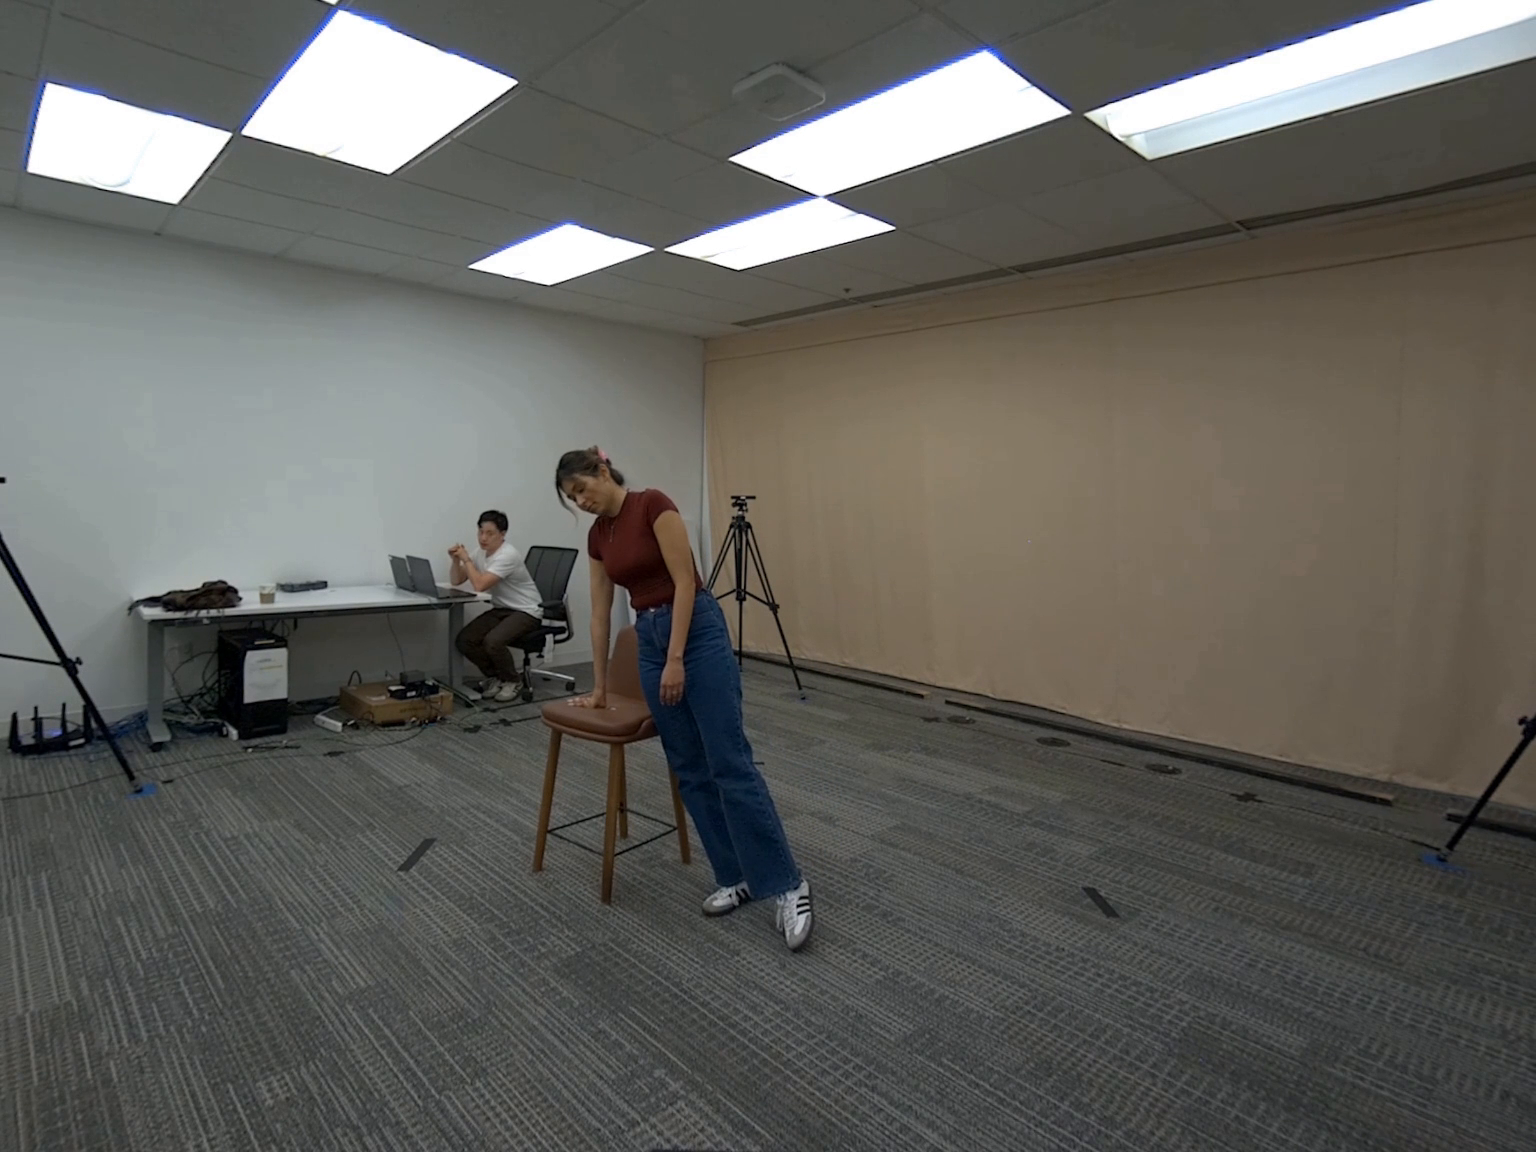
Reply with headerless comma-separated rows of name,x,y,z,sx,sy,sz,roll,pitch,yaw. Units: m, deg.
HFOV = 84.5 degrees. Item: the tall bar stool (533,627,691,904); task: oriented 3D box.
tall bar stool,-0.575,0.660,3.137,0.468,0.888,0.457,4,3,39
